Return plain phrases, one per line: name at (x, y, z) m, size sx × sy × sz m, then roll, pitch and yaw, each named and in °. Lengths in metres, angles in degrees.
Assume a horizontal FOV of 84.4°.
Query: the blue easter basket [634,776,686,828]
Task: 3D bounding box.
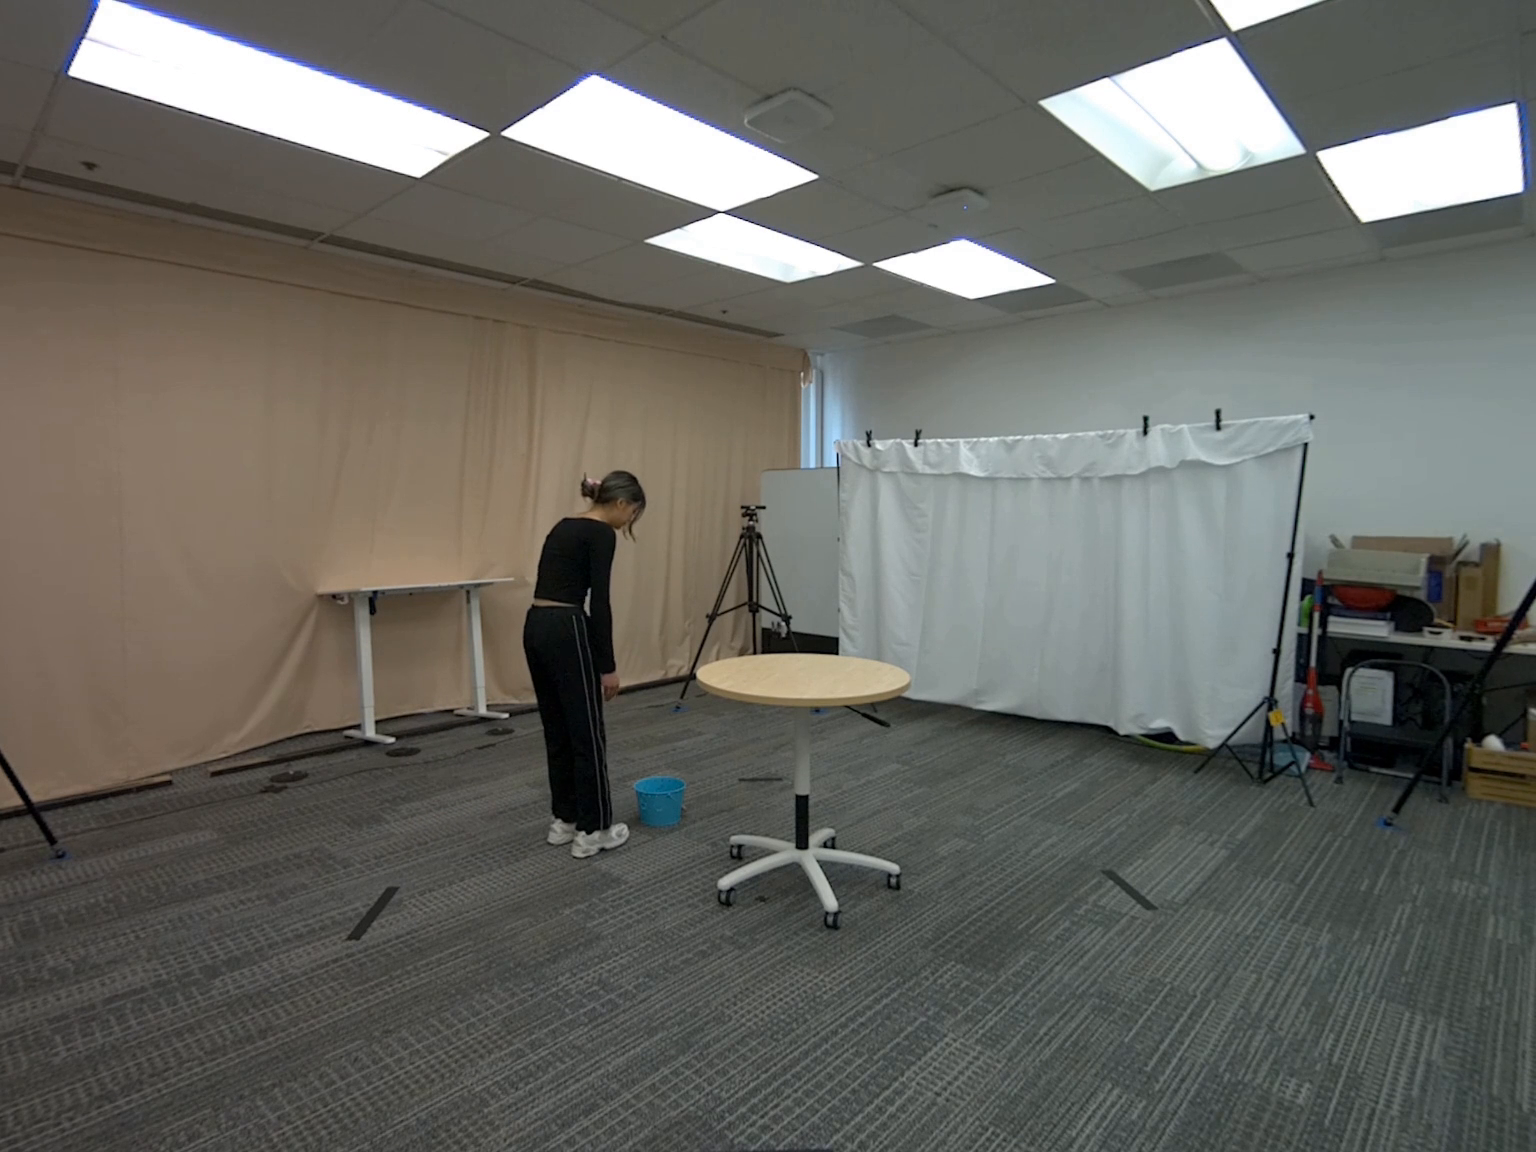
blue easter basket at (-0.479, 1.005, 3.755) m, size 0.243 × 0.155 × 0.244 m, roll 0°, pitch 5°, yaw -2°
